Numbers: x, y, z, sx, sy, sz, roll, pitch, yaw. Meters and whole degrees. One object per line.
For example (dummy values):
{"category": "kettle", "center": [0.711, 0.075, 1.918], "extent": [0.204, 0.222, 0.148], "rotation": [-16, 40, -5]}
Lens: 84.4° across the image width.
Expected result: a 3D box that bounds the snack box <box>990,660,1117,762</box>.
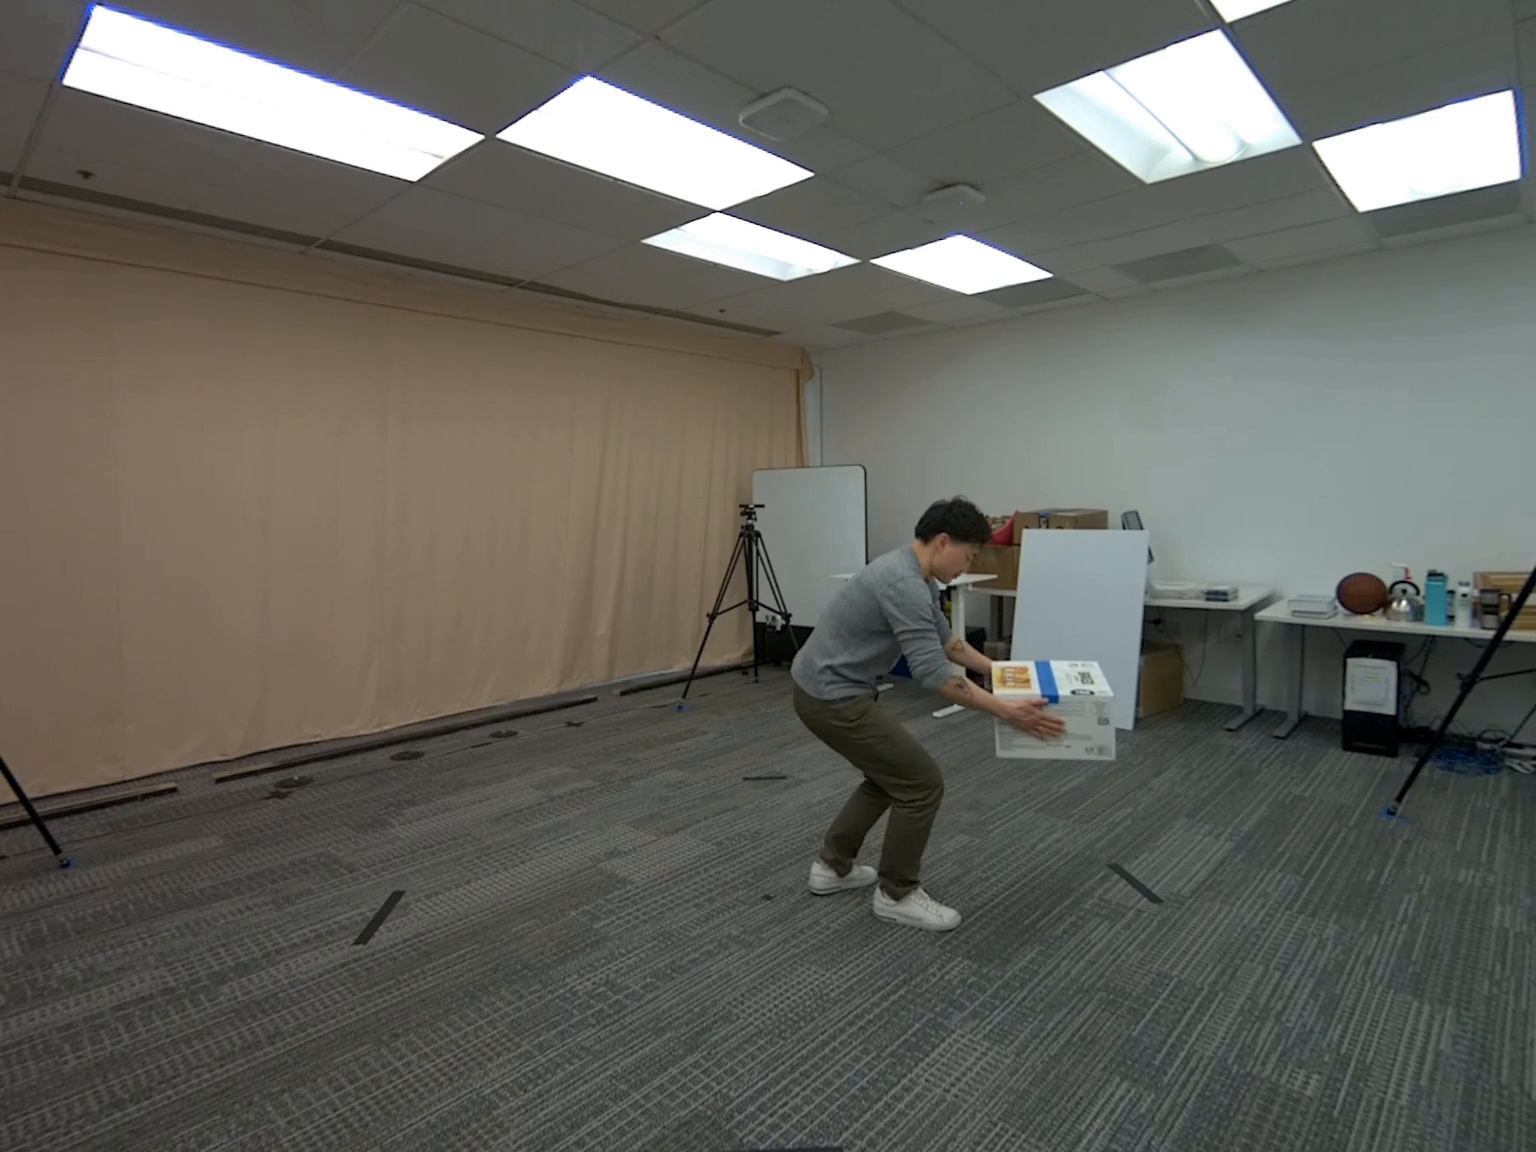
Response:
{"category": "snack box", "center": [0.903, 0.426, 2.725], "extent": [0.346, 0.204, 0.400], "rotation": [-2, 8, 16]}
